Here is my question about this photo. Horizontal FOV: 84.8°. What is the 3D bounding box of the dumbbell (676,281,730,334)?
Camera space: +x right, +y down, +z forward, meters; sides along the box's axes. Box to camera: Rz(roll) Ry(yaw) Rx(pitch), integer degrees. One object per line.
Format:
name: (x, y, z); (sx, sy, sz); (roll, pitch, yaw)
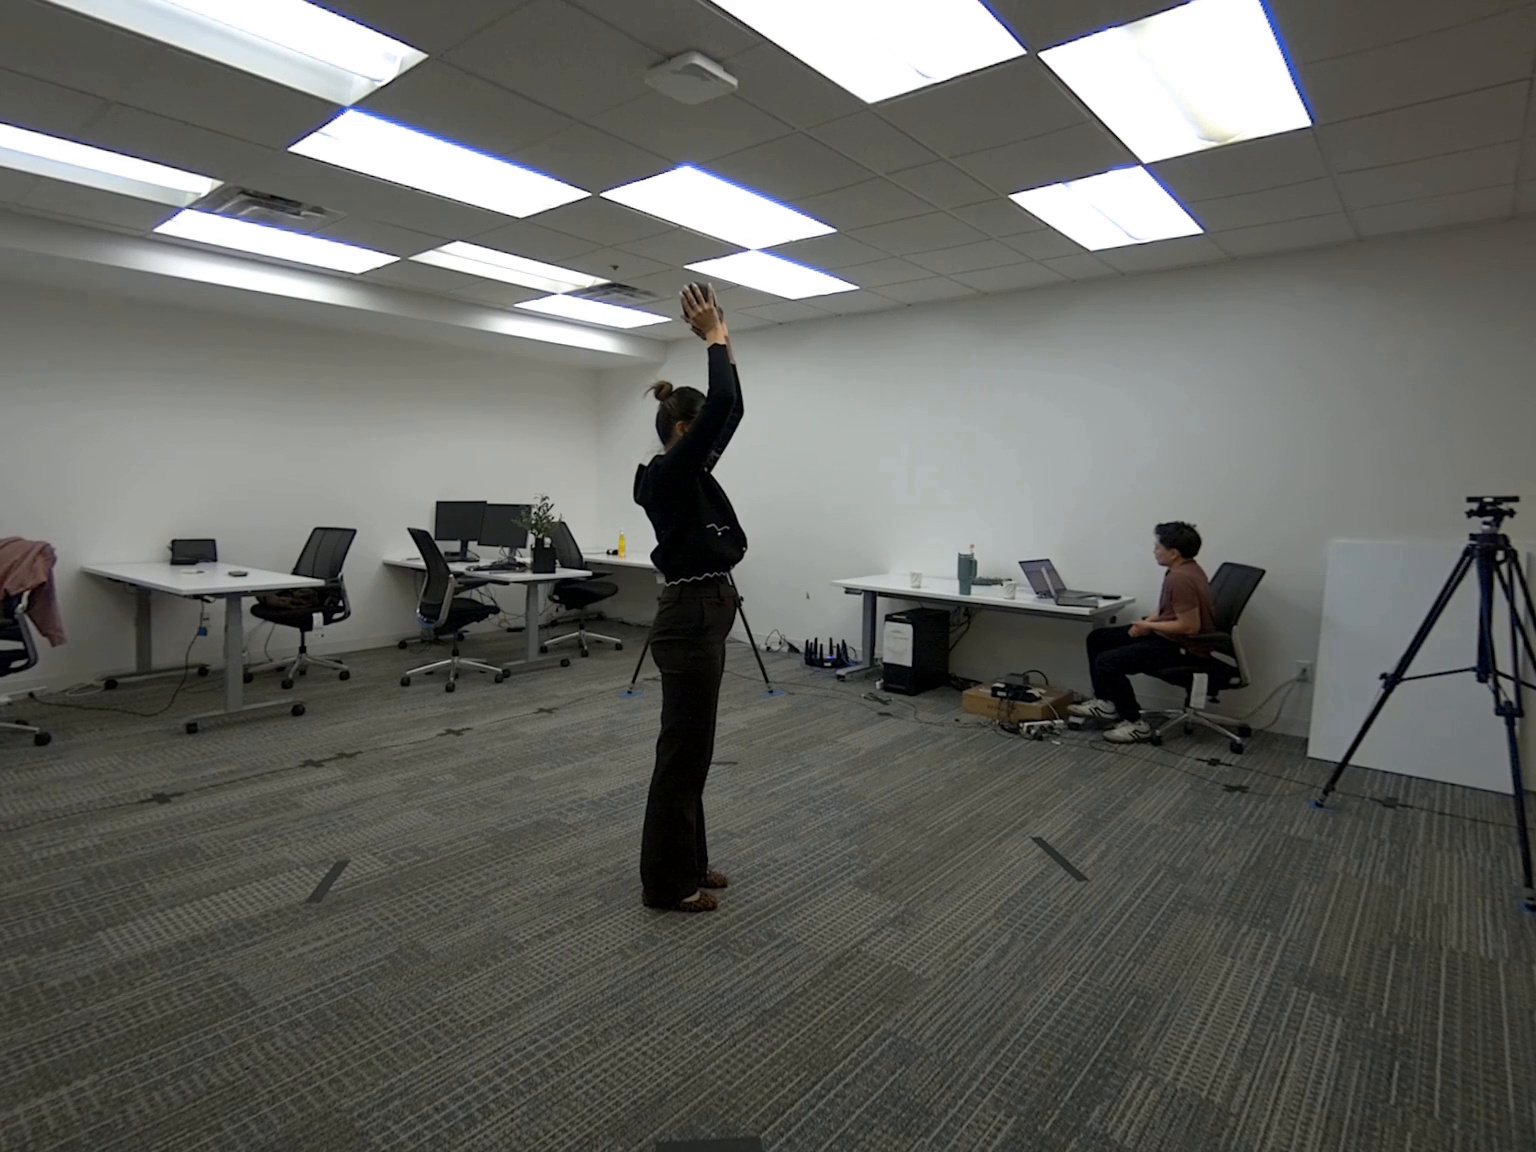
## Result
dumbbell: (-0.214, -0.877, 2.798); (0.123, 0.108, 0.294); (19, 6, -1)
